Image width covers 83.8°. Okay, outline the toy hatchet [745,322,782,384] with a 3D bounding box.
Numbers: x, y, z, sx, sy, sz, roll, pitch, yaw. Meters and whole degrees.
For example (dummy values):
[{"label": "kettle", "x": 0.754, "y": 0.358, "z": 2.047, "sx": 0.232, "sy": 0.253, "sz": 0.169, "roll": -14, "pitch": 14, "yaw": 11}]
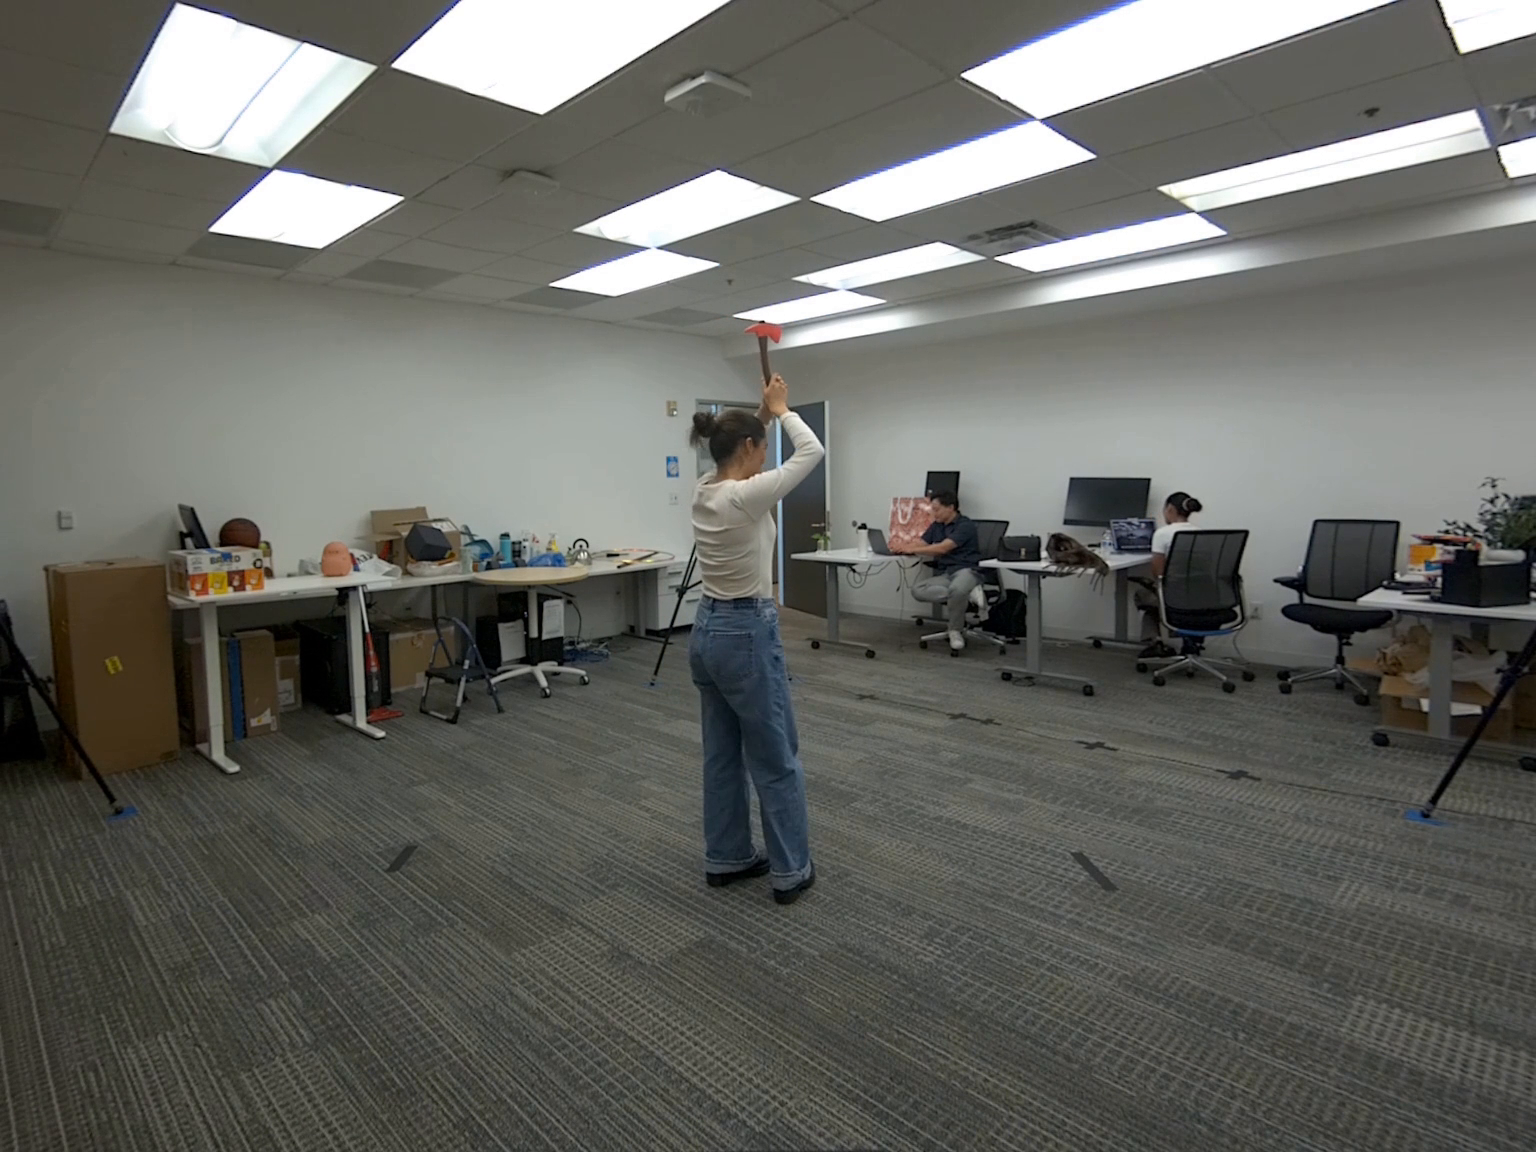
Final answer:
[{"label": "toy hatchet", "x": 0.026, "y": -0.742, "z": 2.895, "sx": 0.130, "sy": 0.263, "sz": 0.030, "roll": -30, "pitch": 22, "yaw": -15}]
